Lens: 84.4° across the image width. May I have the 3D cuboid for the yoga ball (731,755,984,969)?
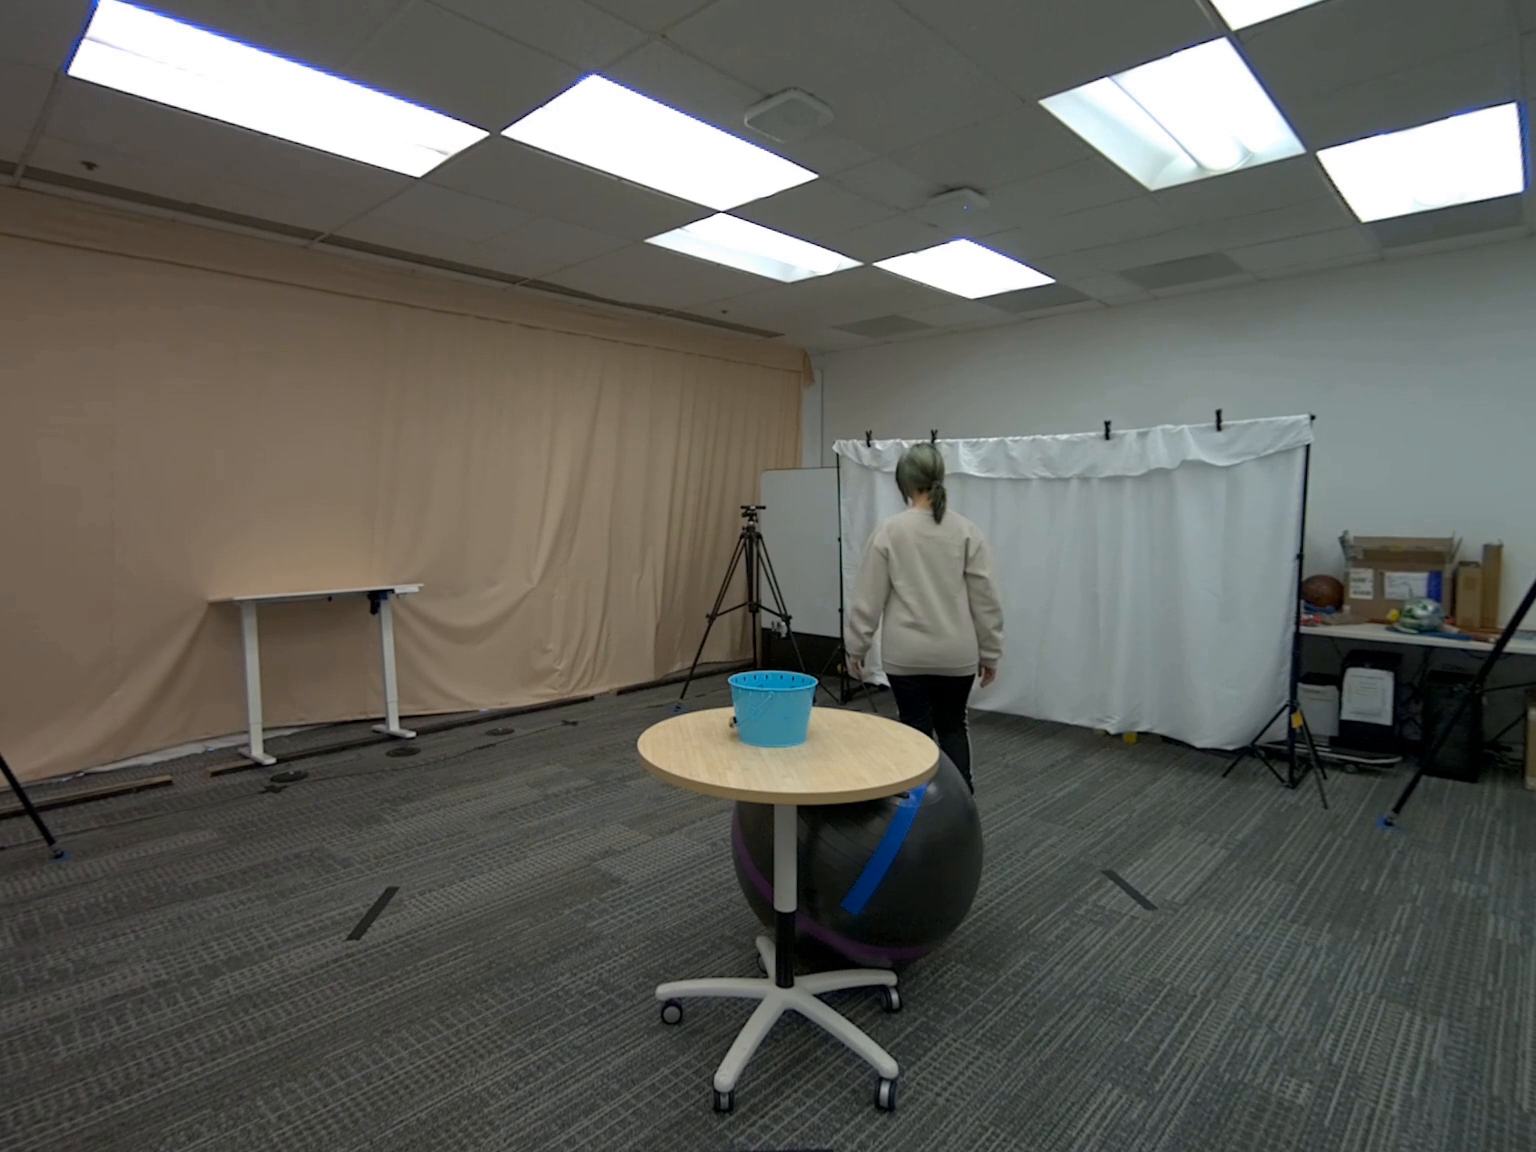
[{"bbox_3d":[0.279,0.806,2.589,0.757,0.756,0.760,0,4,-2],"label":"yoga ball"}]
